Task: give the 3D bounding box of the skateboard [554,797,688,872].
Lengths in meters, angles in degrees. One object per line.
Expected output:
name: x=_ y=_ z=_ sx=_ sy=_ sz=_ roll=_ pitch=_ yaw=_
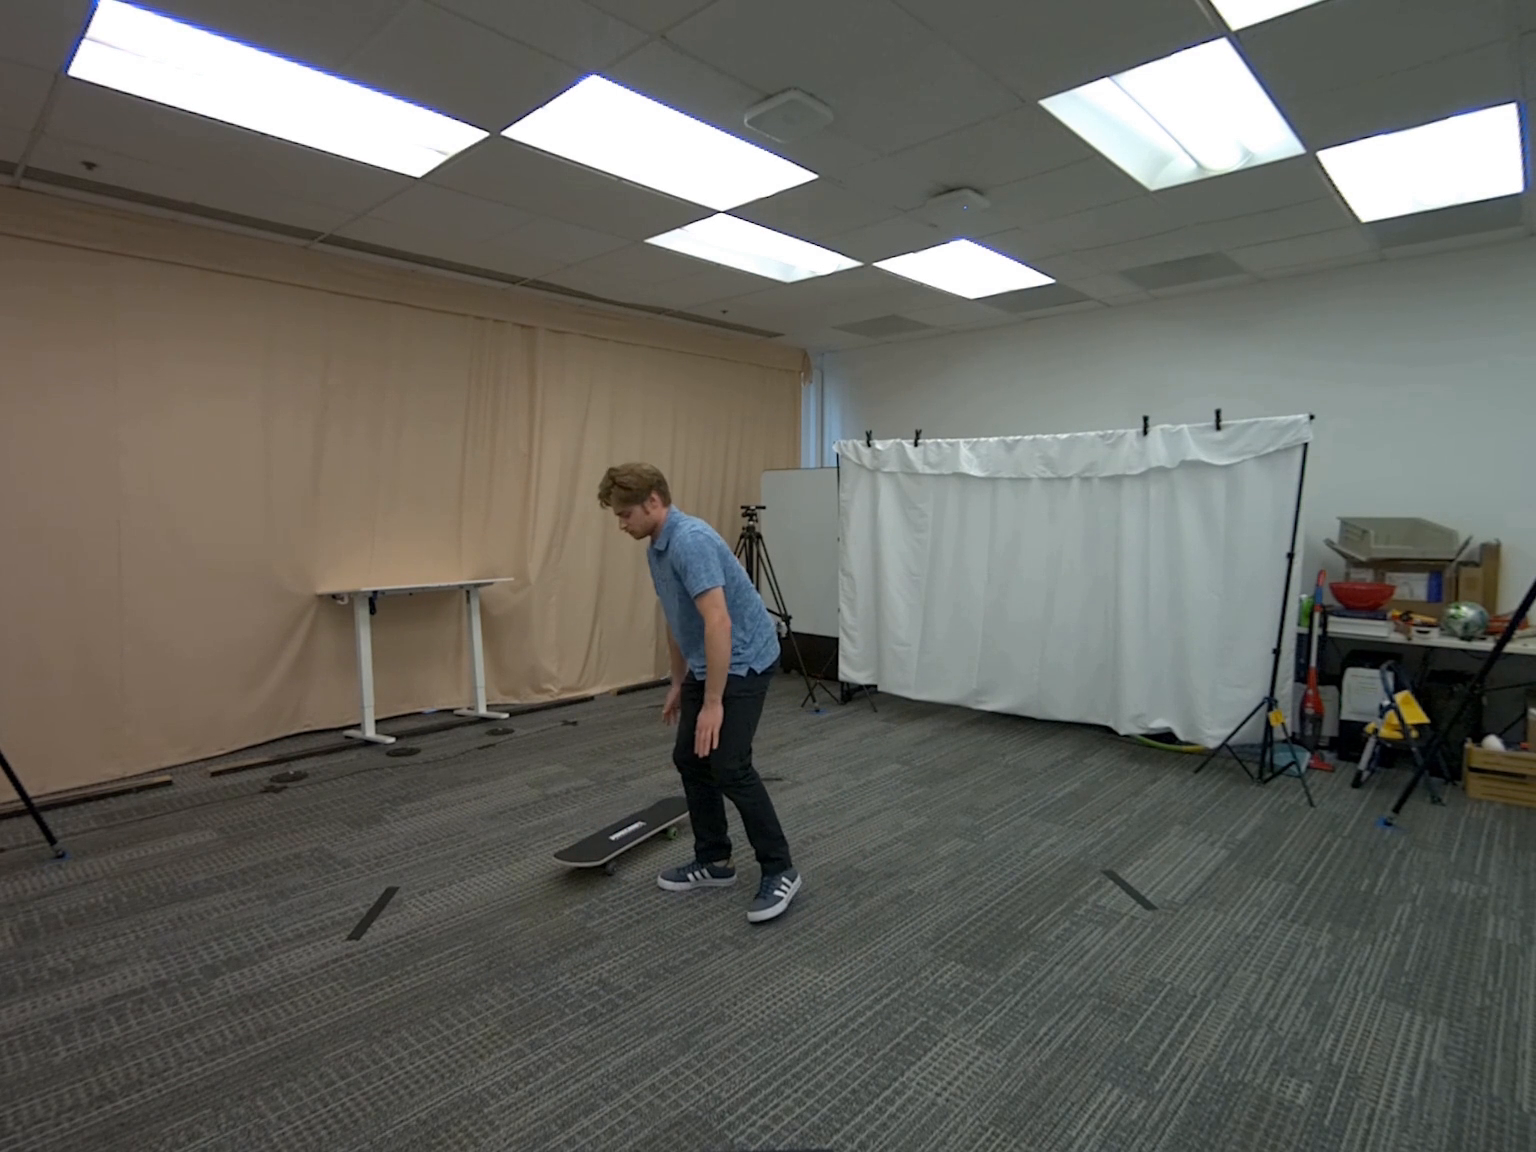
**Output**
skateboard: x=-0.569 y=1.061 z=3.395 sx=0.199 sy=0.110 sz=0.765 roll=2 pitch=5 yaw=29
